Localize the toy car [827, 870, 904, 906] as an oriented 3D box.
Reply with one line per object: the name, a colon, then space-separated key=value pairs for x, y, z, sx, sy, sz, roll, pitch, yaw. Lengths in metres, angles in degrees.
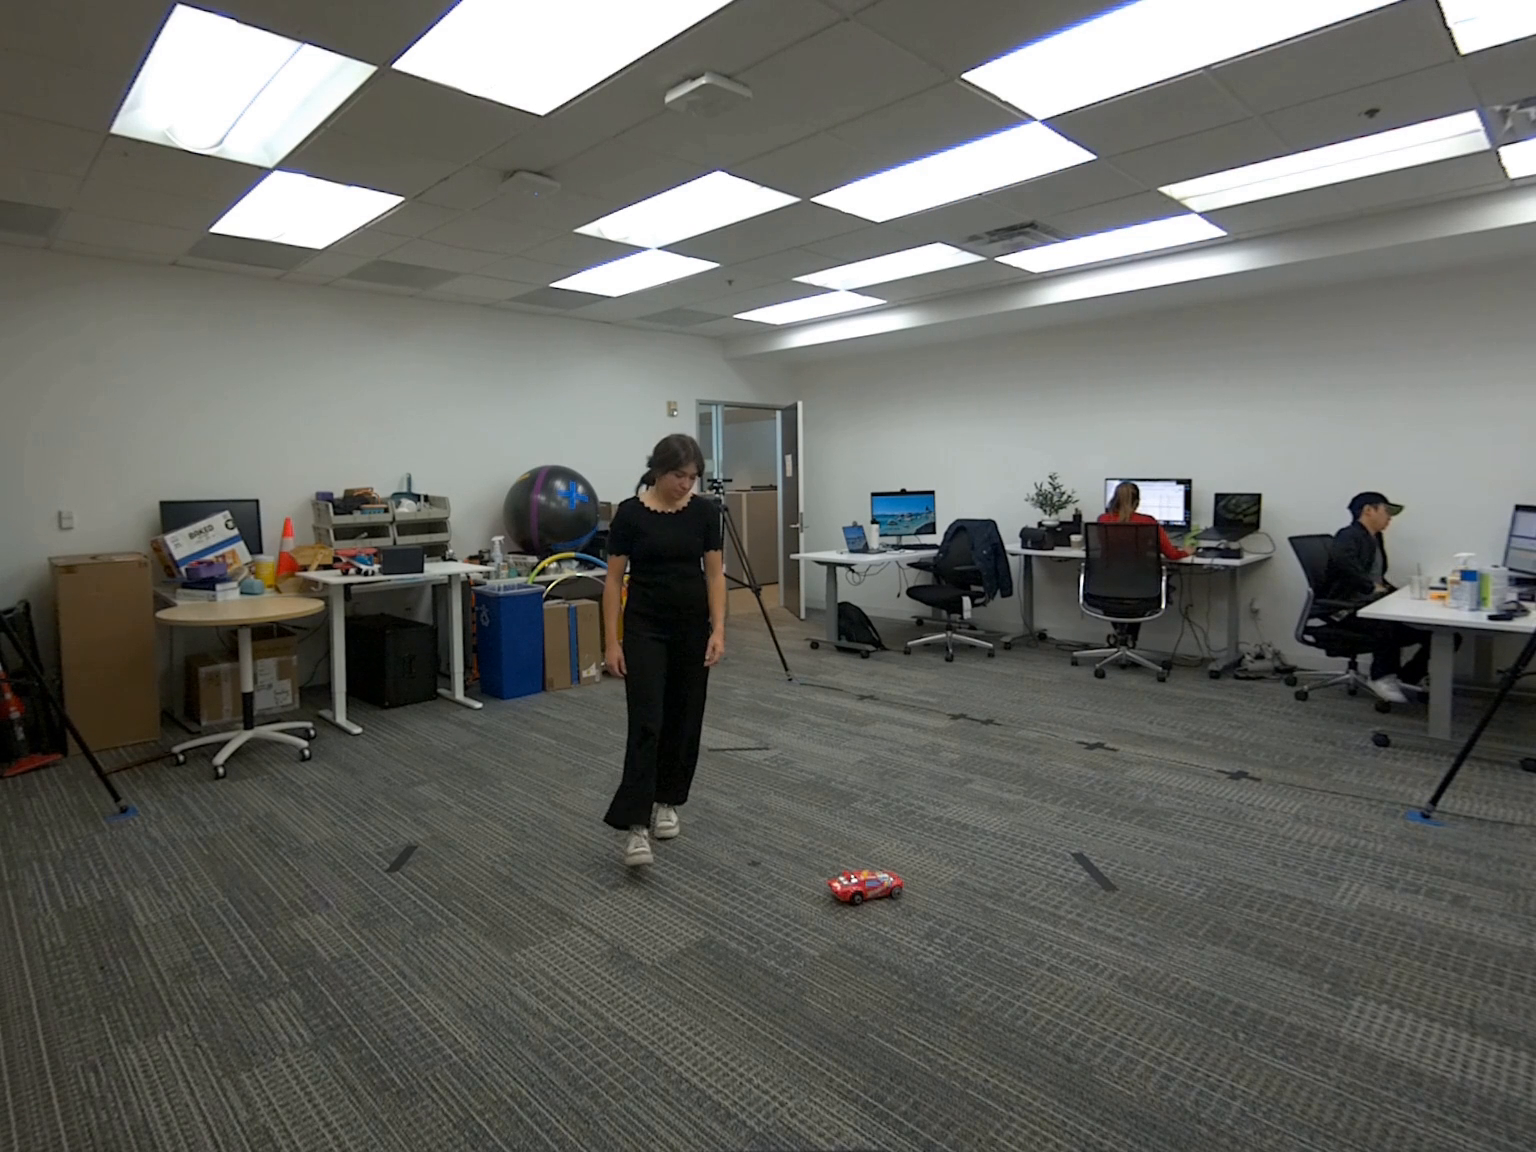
toy car: x=0.323 y=1.037 z=2.846 sx=0.250 sy=0.083 sz=0.133 roll=8 pitch=2 yaw=-18
